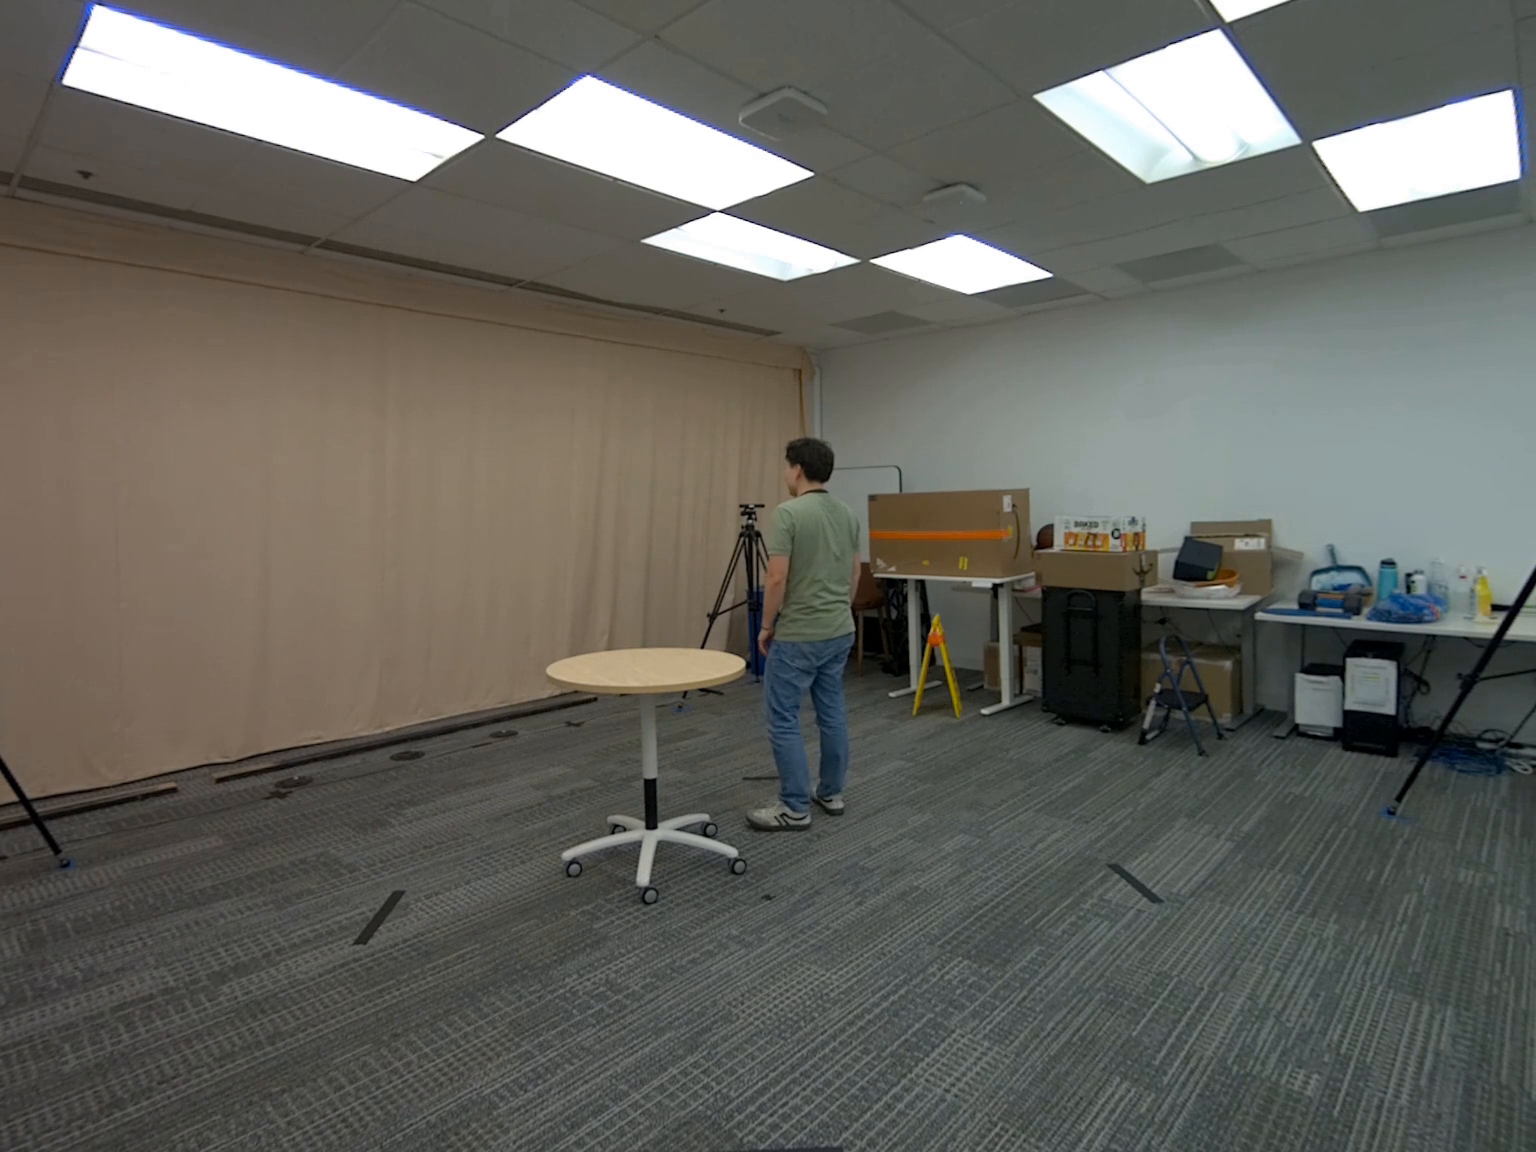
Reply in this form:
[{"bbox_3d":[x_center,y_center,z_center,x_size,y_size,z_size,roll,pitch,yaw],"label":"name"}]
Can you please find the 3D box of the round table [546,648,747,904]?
[{"bbox_3d":[-0.456,0.737,3.273,0.763,0.792,0.766,-2,4,-2],"label":"round table"}]
